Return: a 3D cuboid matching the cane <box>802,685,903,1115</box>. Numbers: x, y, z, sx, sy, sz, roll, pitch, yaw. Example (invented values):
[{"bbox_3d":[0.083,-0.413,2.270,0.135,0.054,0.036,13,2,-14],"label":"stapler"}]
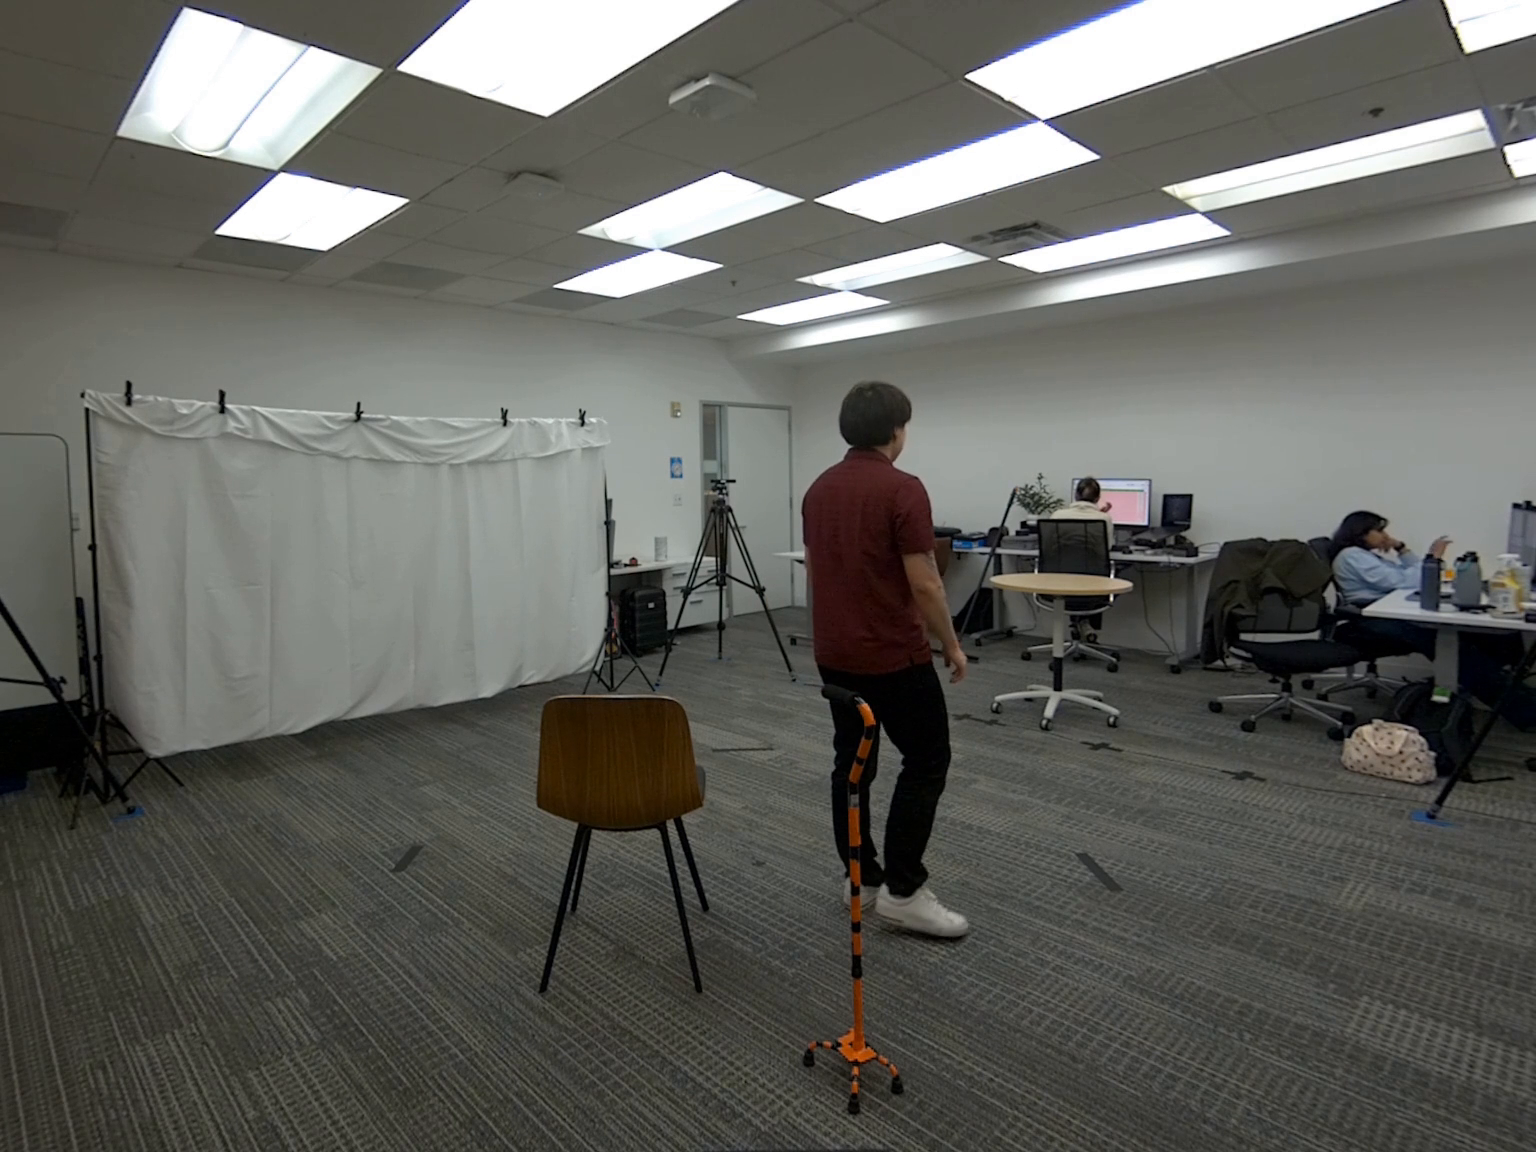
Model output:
[{"bbox_3d":[0.199,0.726,1.964,0.148,0.905,0.212,-3,4,-31],"label":"cane"}]
